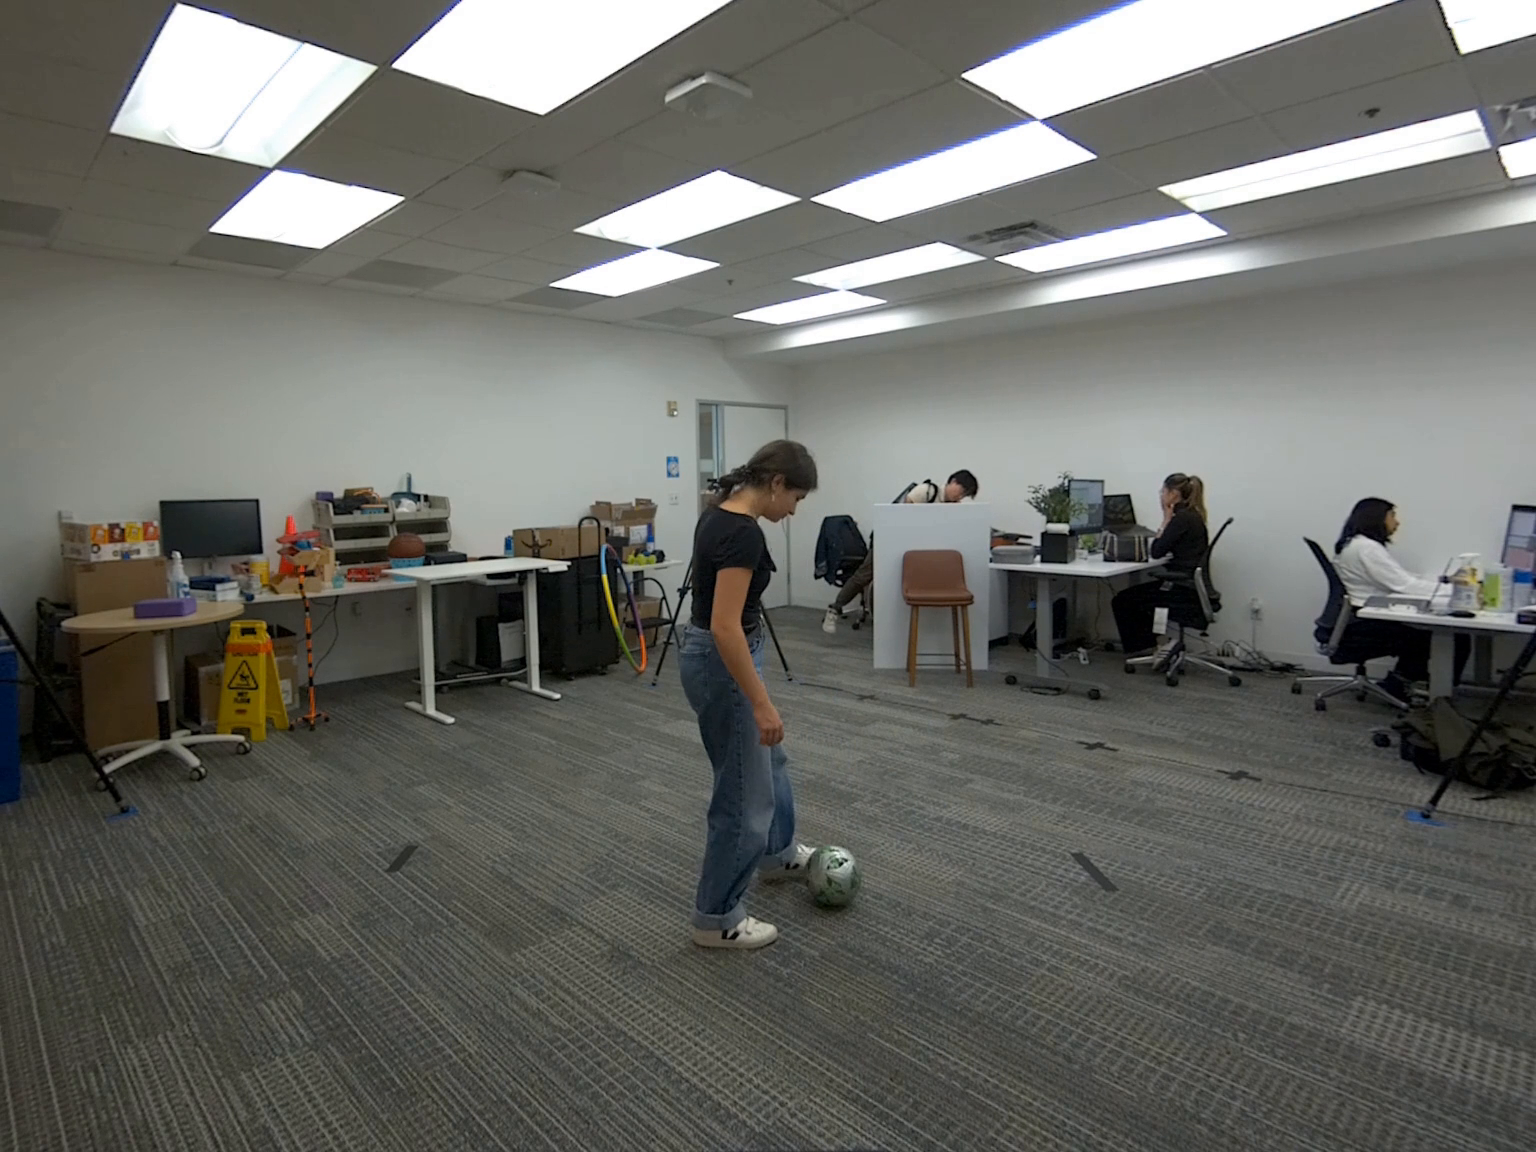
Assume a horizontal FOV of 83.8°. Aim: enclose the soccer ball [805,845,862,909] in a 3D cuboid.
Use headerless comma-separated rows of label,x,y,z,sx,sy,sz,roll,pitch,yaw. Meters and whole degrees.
soccer ball,0.216,0.984,2.798,0.187,0.187,0.188,-1,5,-2
